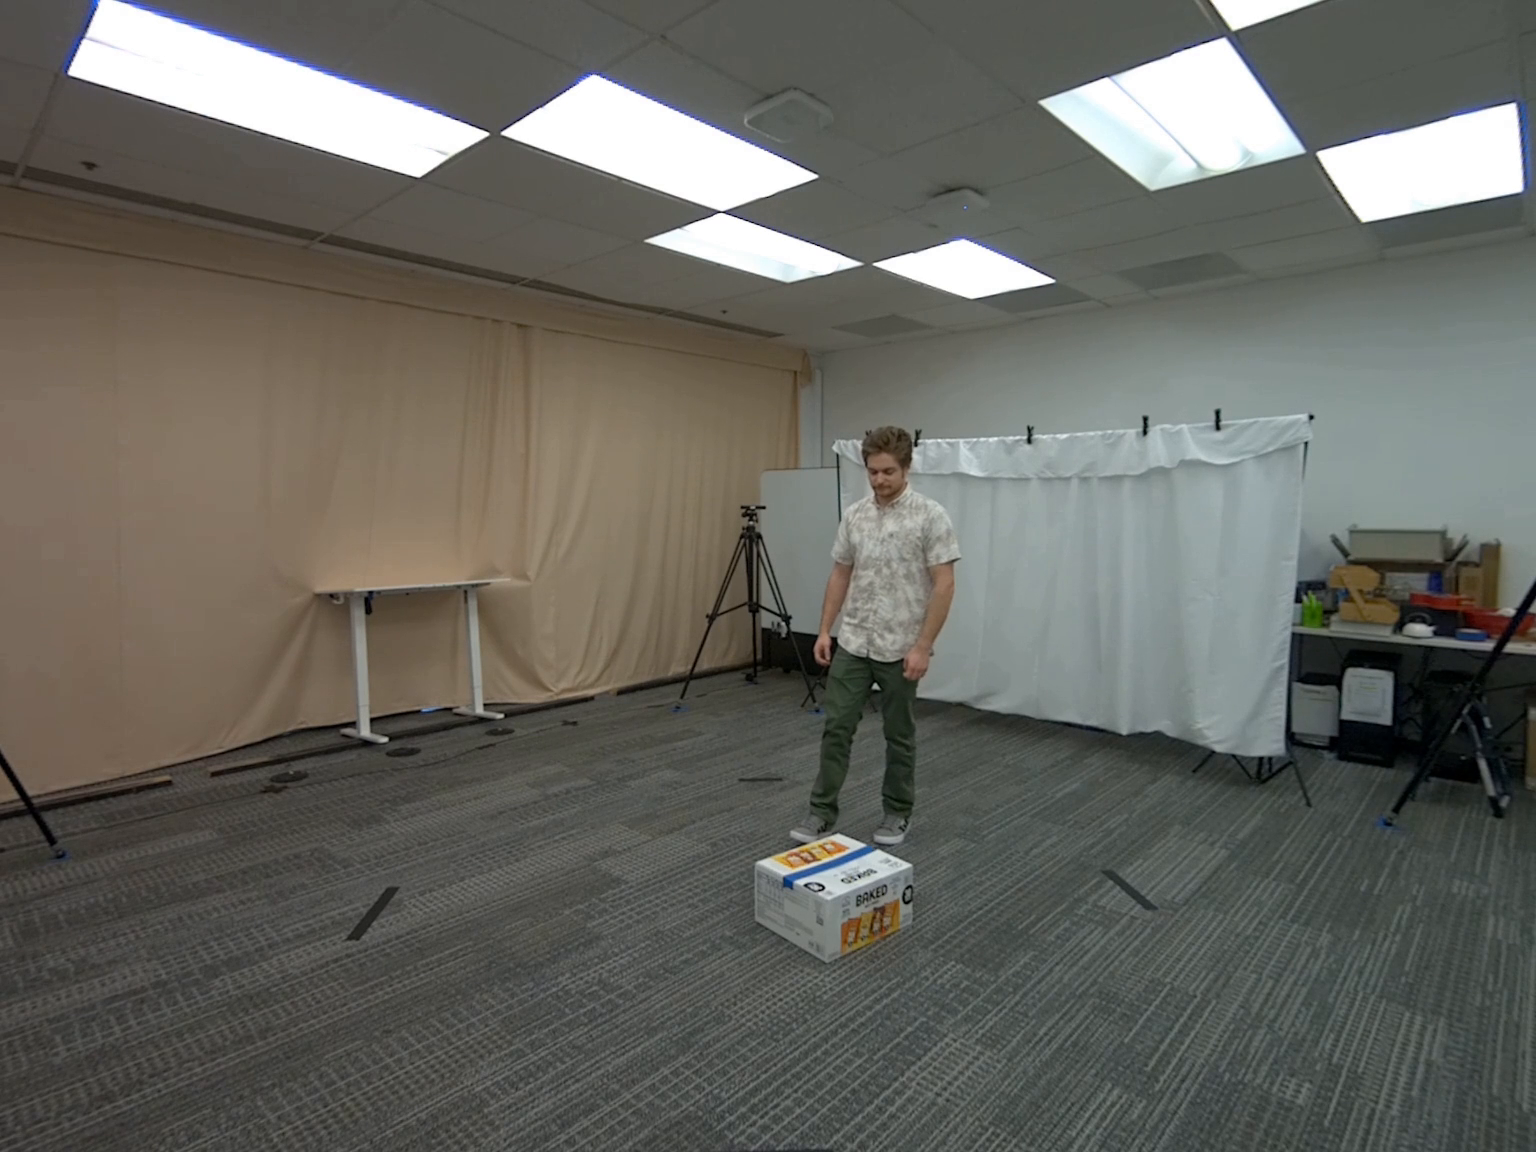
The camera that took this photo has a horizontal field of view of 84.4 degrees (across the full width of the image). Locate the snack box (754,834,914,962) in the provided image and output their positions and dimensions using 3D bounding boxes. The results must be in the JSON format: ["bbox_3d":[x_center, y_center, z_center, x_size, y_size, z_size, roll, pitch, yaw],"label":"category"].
[{"bbox_3d":[0.221,1.058,2.799,0.393,0.205,0.351,-4,5,-39],"label":"snack box"}]
